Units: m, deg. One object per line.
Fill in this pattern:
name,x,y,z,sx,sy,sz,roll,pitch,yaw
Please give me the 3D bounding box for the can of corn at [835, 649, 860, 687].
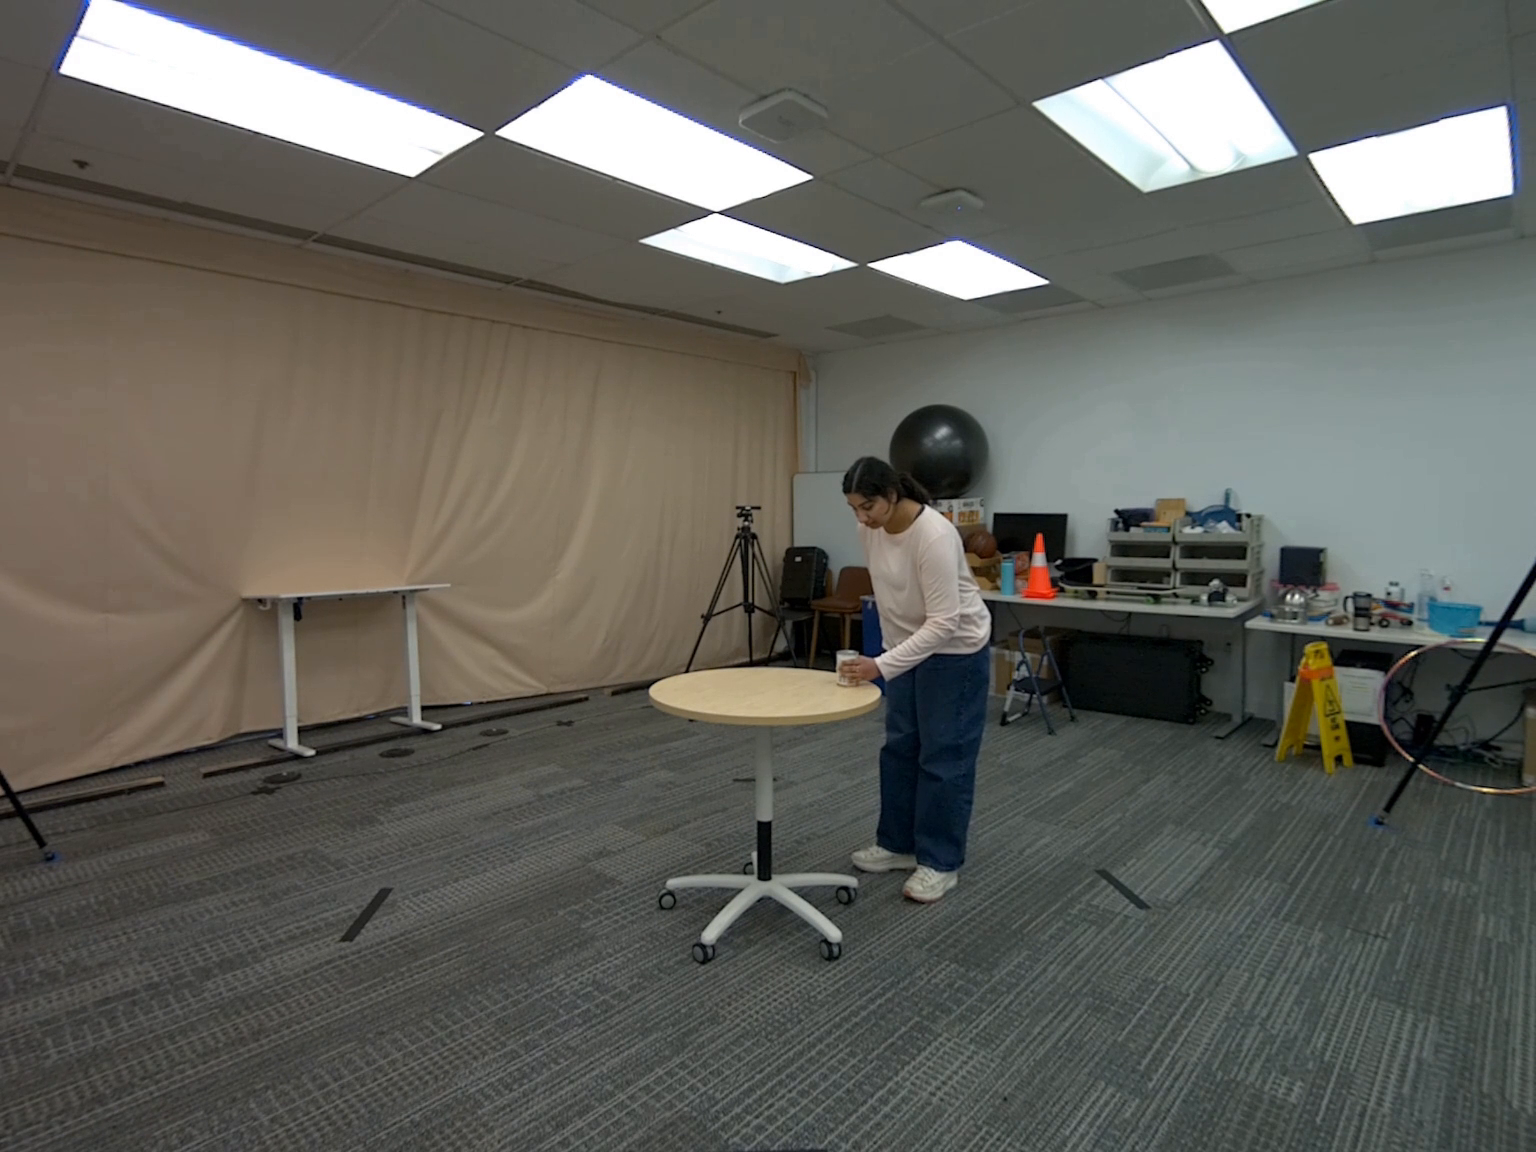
can of corn,0.278,0.316,2.847,0.074,0.111,0.074,2,3,-2
